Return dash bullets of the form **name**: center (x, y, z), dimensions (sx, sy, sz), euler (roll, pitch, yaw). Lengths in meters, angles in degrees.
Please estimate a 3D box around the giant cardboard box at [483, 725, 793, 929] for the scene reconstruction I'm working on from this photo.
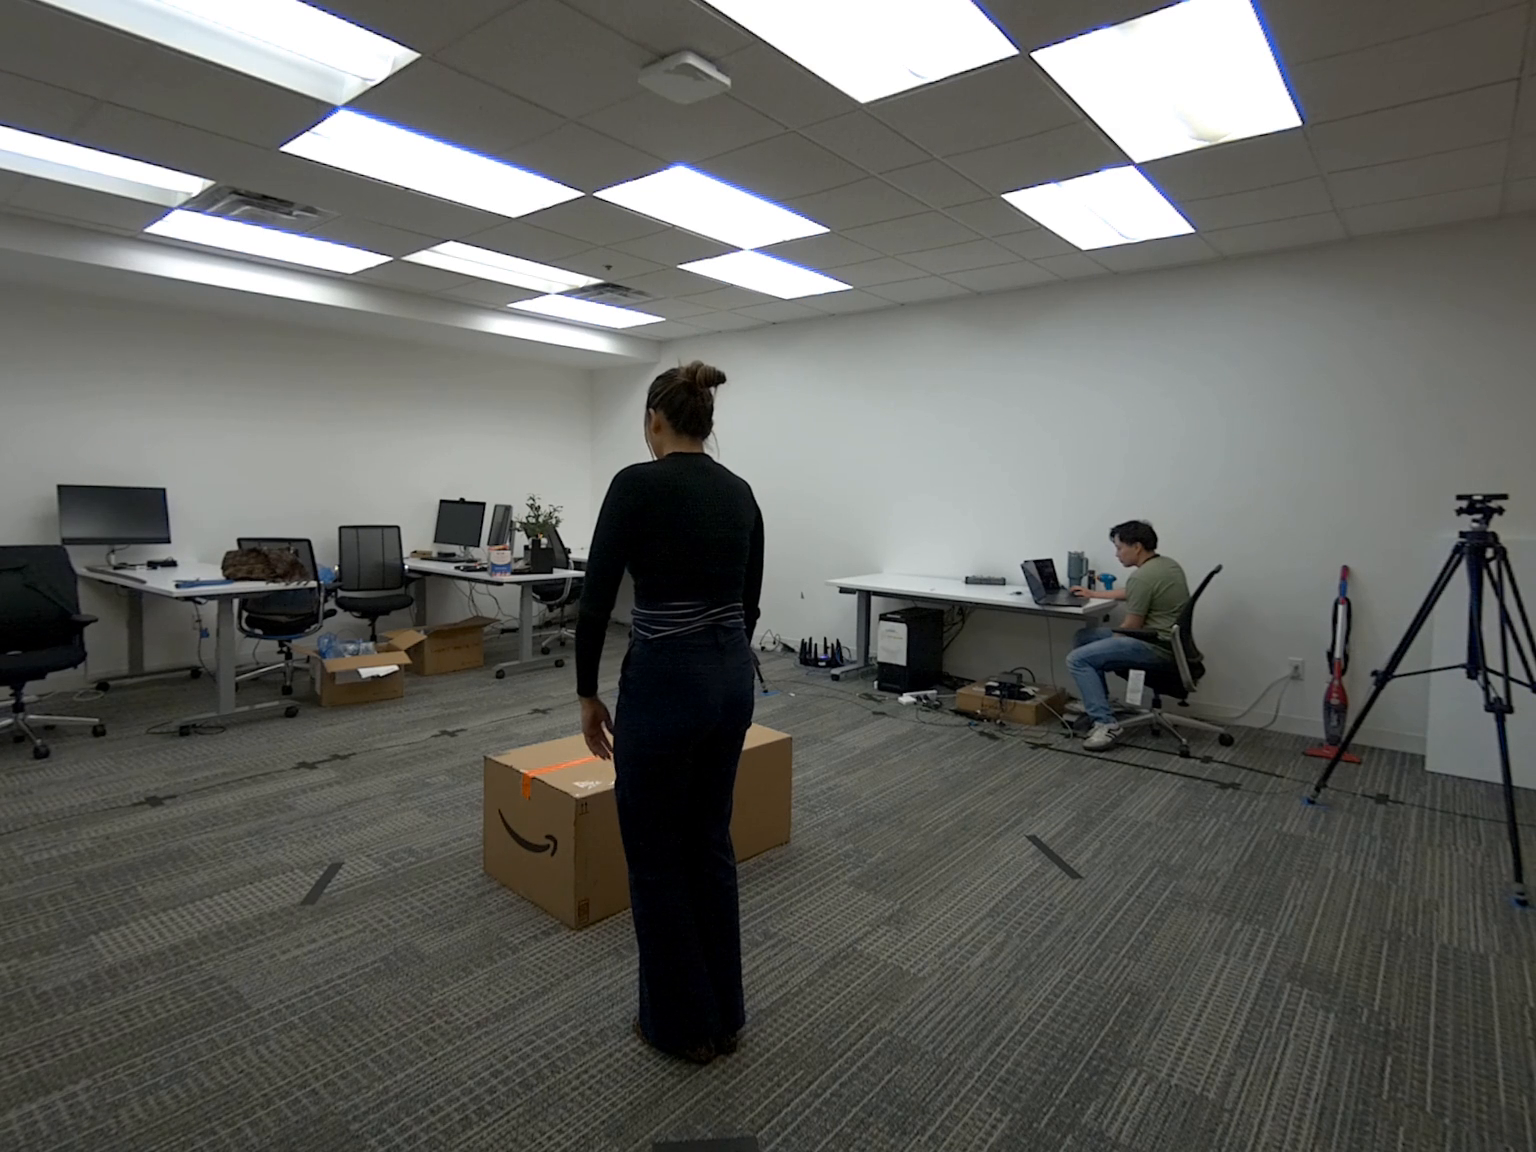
- **giant cardboard box**: center (-0.474, 0.840, 3.195), dimensions (0.597, 0.424, 0.995), euler (6, 8, 44)
